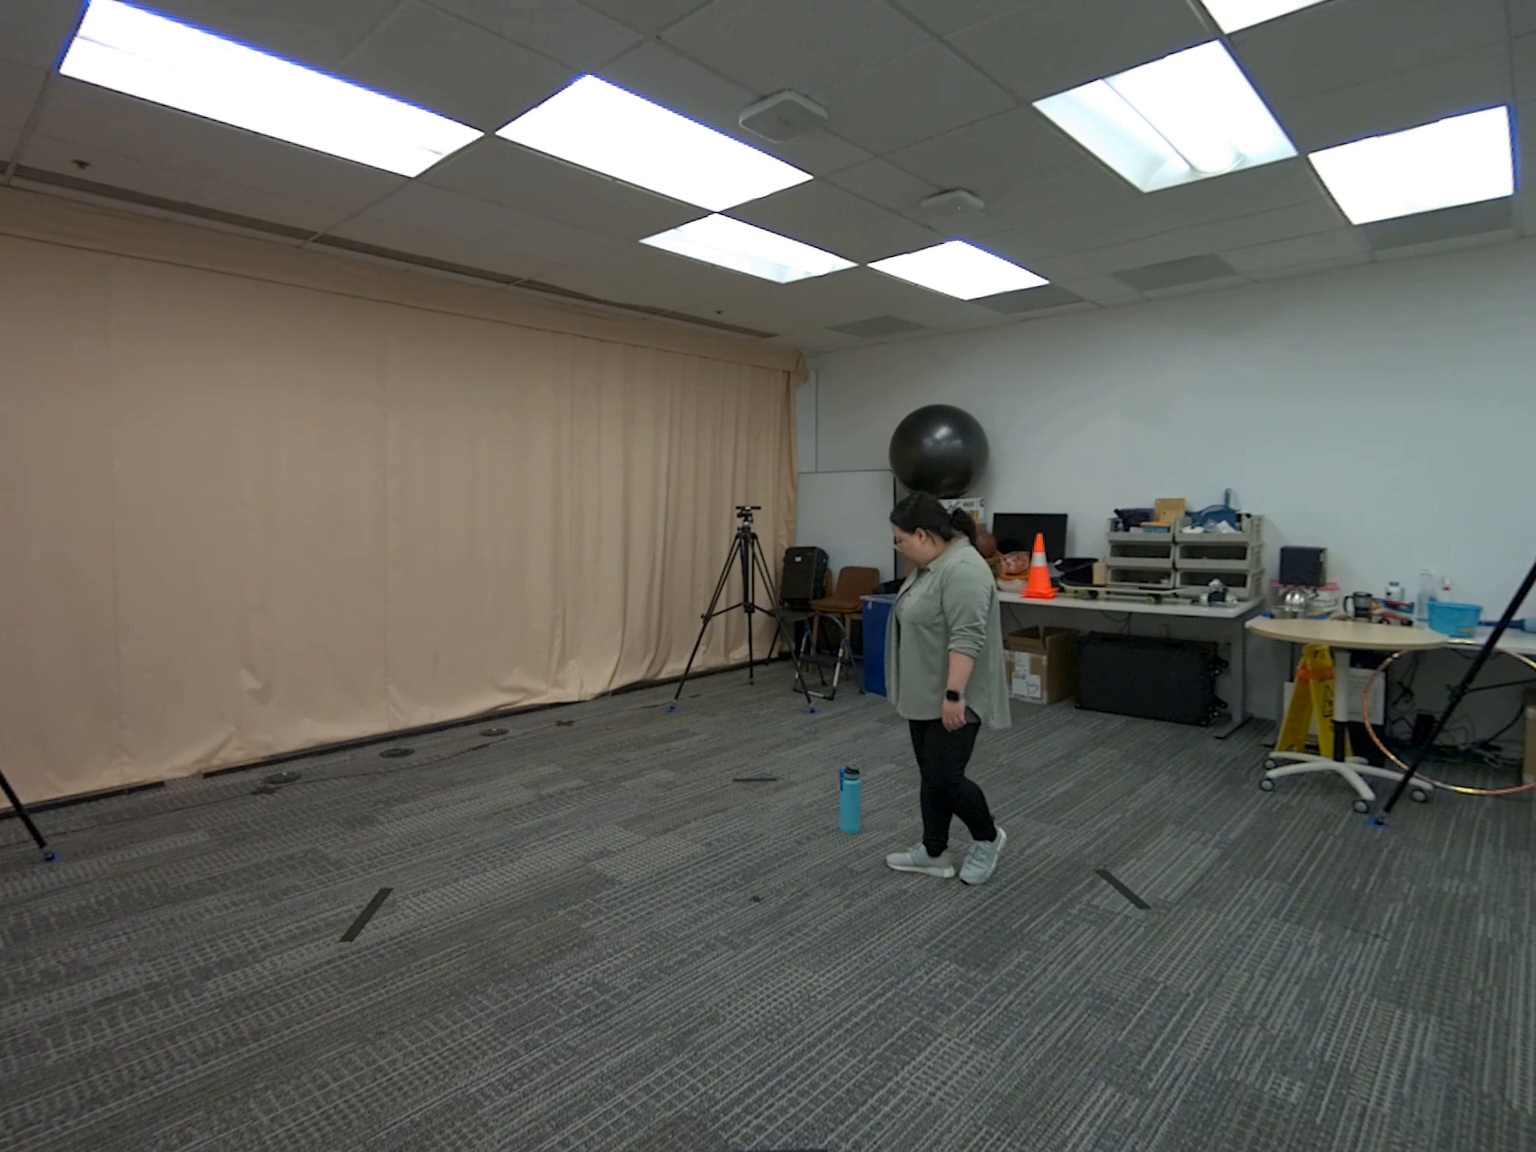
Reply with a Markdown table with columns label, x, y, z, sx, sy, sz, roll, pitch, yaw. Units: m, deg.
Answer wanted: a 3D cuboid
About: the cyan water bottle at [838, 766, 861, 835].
| label | x | y | z | sx | sy | sz | roll | pitch | yaw |
| --- | --- | --- | --- | --- | --- | --- | --- | --- | --- |
| cyan water bottle | 0.358 | 0.953 | 3.613 | 0.092 | 0.283 | 0.092 | 0 | 2 | -2 |
